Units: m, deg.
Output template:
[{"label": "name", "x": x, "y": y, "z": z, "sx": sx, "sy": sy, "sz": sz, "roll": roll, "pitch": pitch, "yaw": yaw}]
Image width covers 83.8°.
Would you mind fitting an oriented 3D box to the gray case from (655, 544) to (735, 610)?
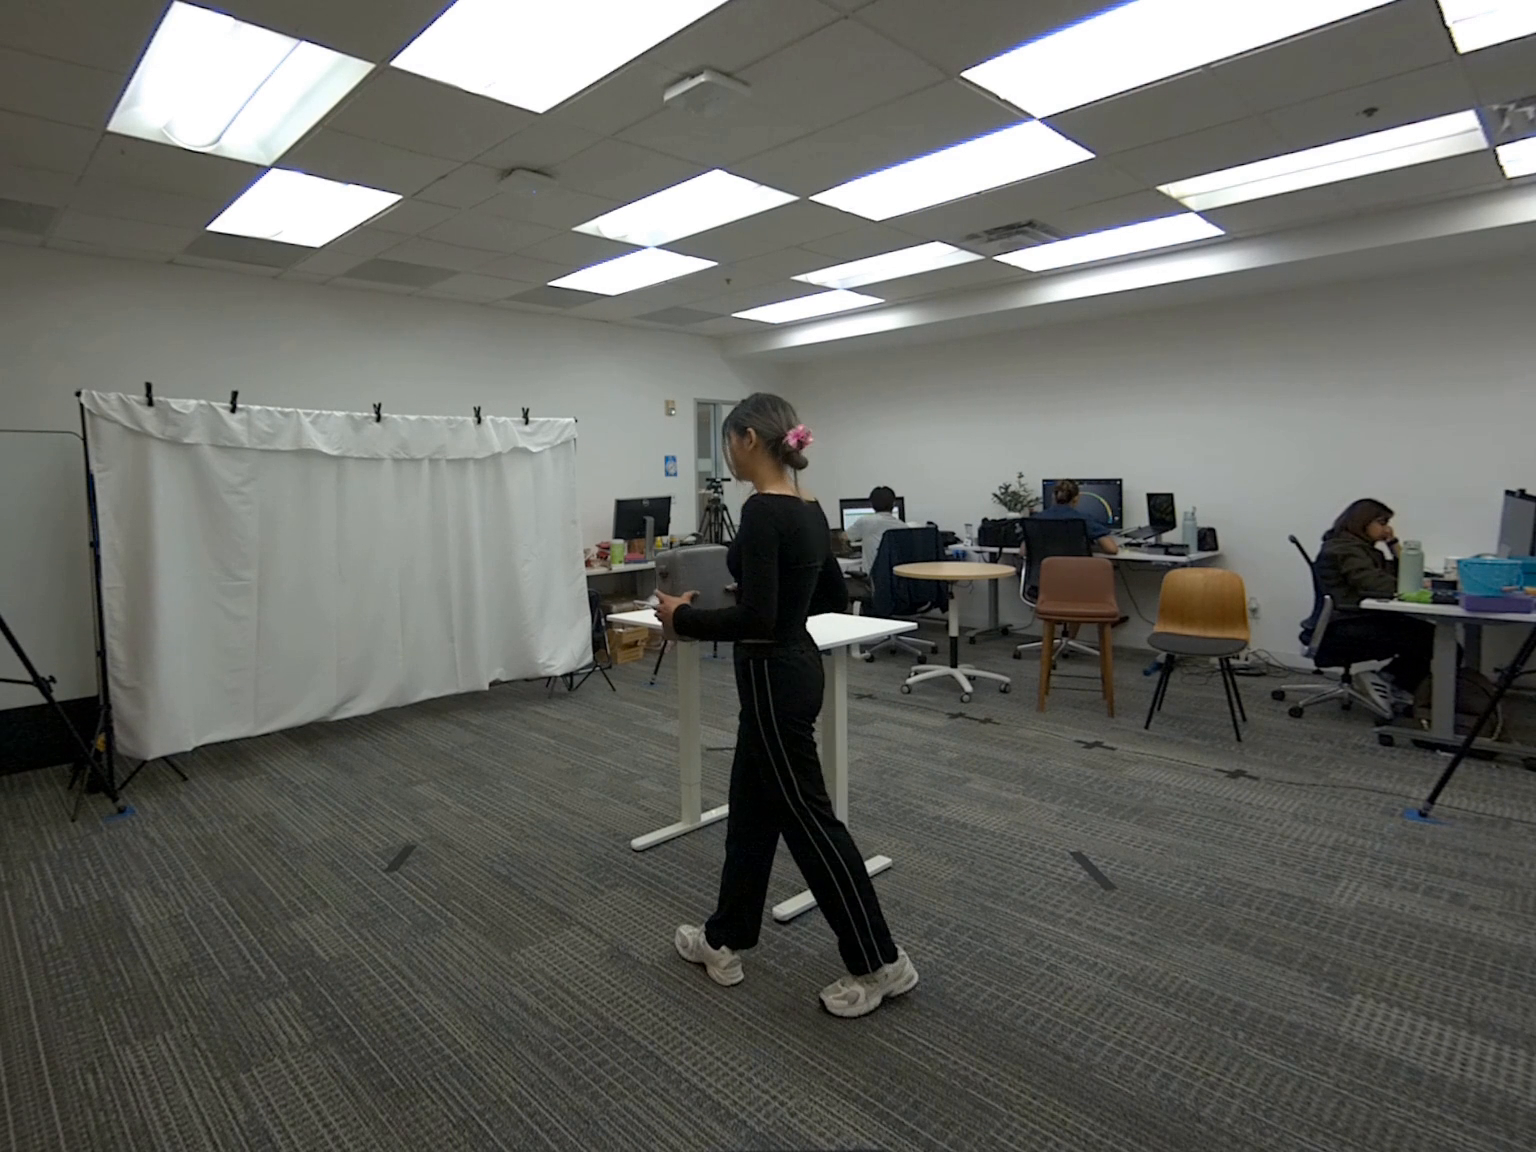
[{"label": "gray case", "x": -0.184, "y": 0.037, "z": 2.392, "sx": 0.107, "sy": 0.261, "sz": 0.251, "roll": -9, "pitch": -1, "yaw": 34}]
